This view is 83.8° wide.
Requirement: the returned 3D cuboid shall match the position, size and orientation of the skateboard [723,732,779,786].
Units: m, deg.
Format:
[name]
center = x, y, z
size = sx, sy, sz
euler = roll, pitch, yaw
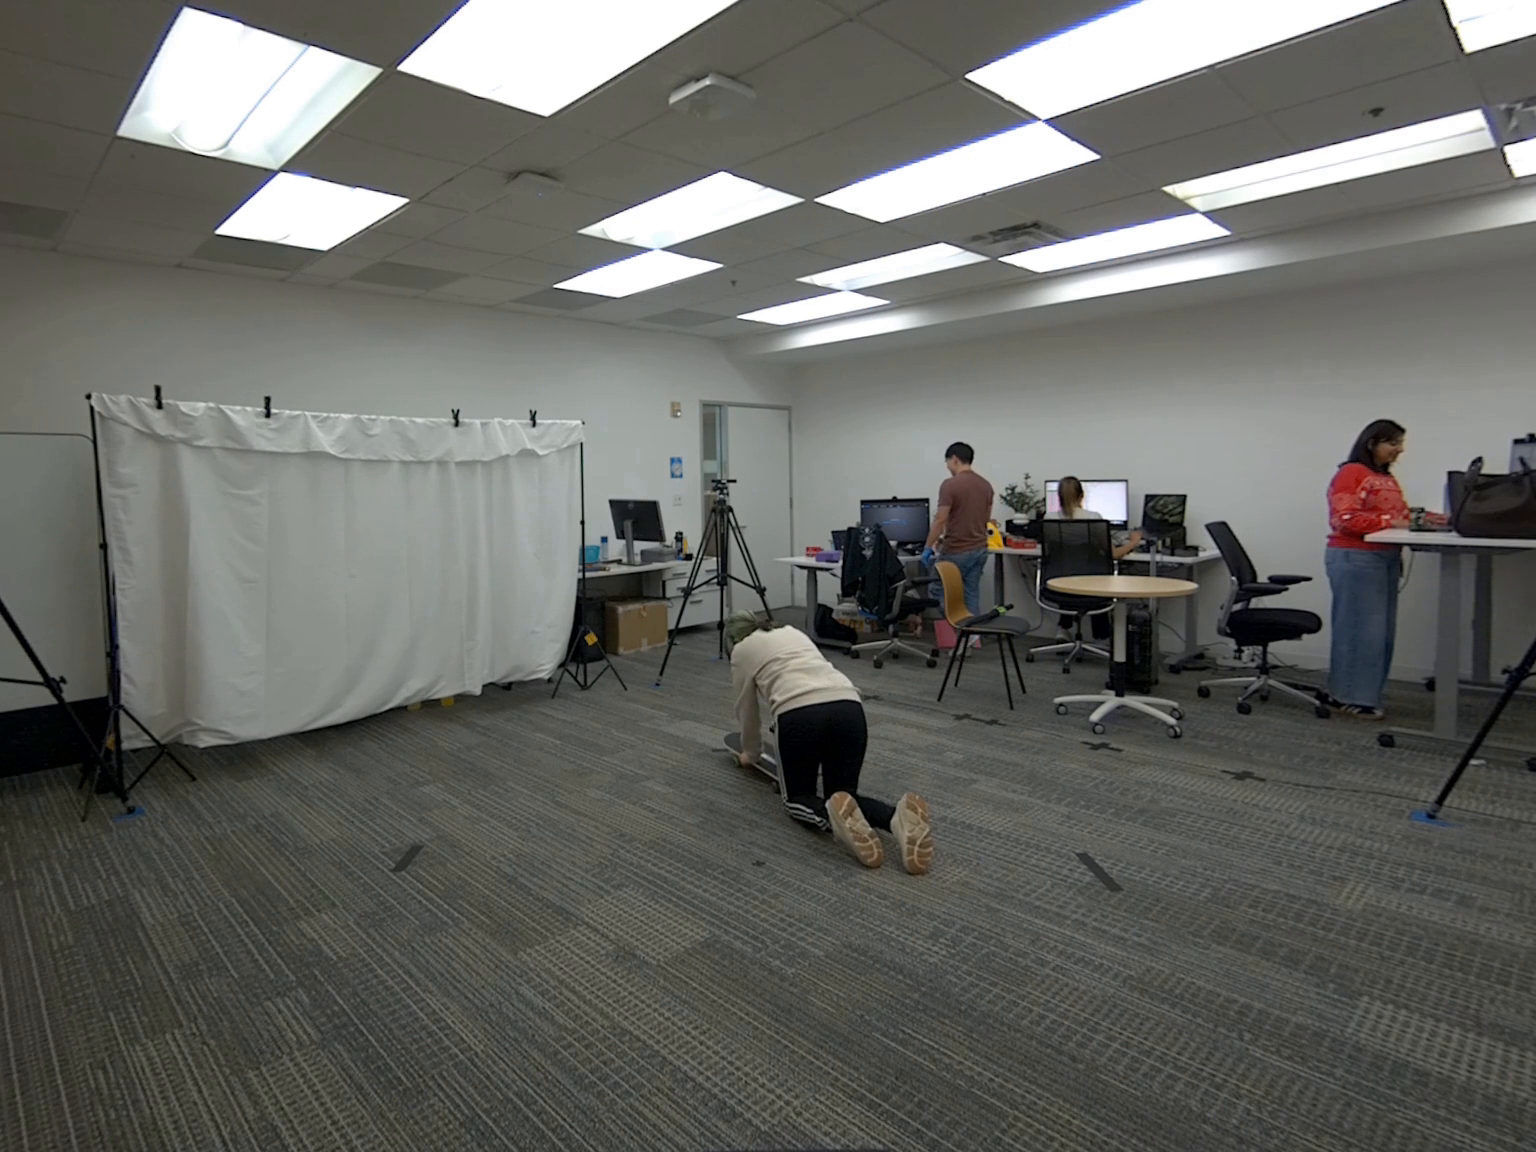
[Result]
[skateboard]
center = 0.018, 0.894, 4.021
size = 0.189, 0.110, 0.805
euler = -5, 7, -26
